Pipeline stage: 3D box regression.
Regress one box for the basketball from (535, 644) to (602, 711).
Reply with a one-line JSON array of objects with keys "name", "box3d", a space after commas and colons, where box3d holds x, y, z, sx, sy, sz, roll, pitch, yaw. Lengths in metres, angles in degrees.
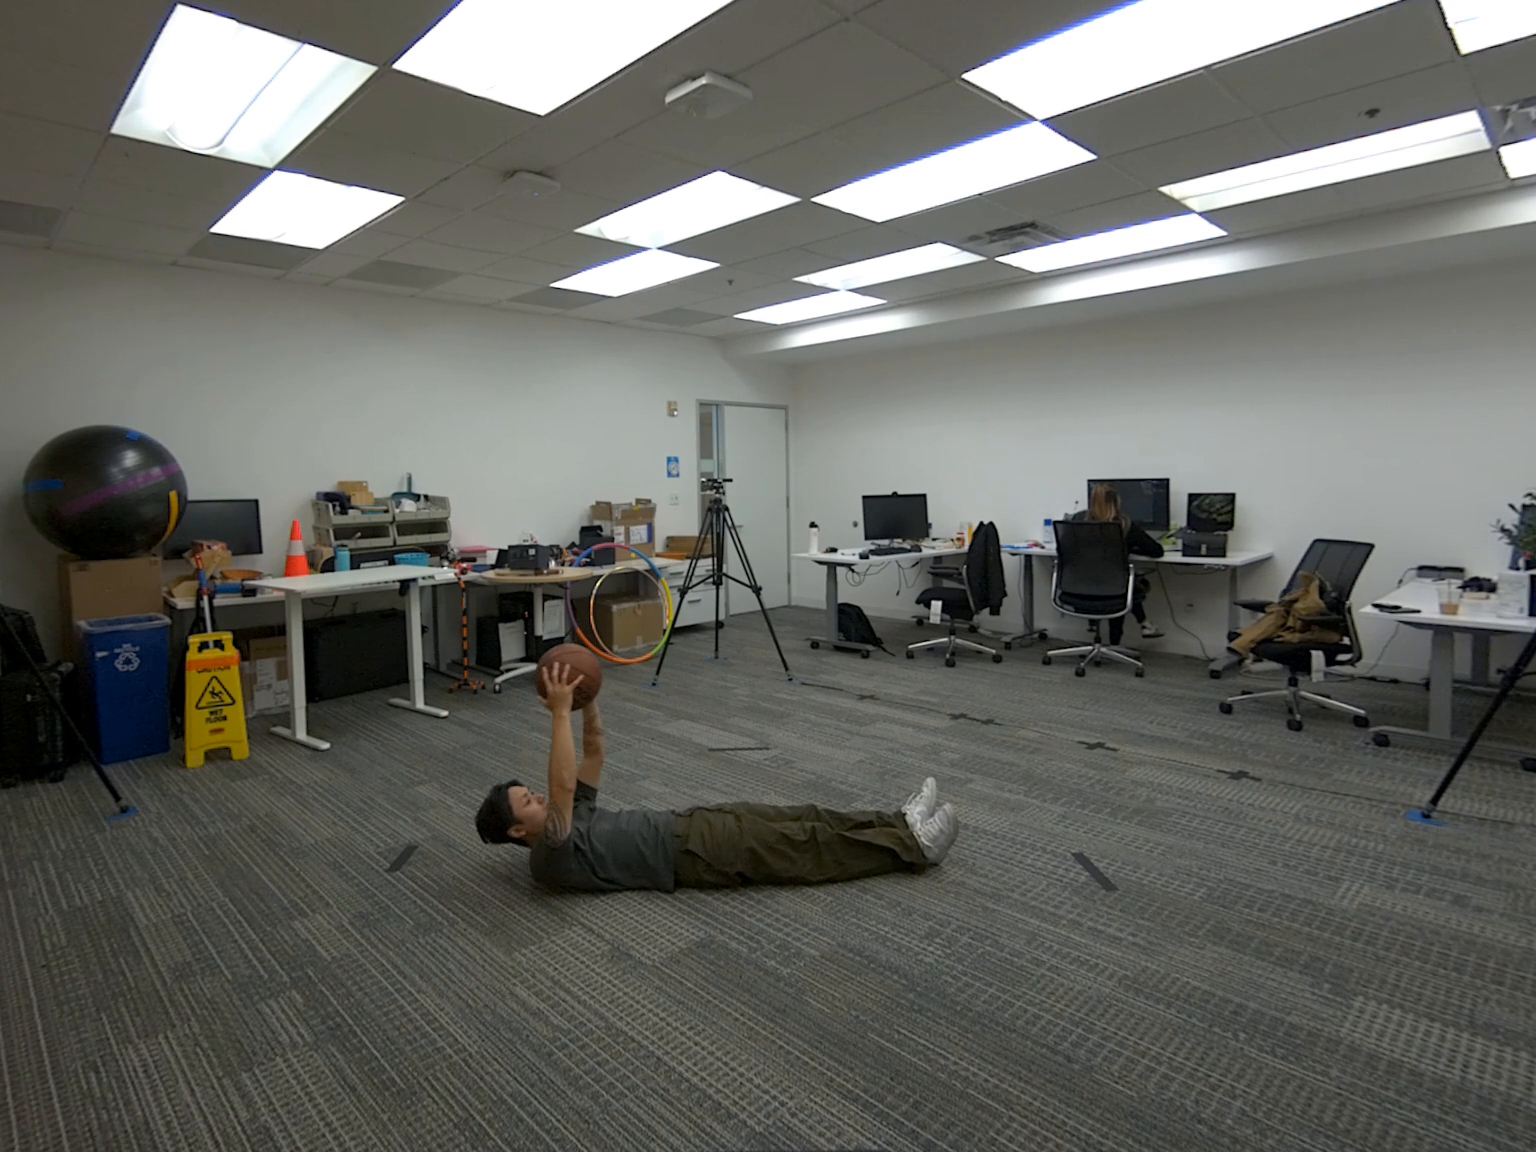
[{"name": "basketball", "box3d": [-0.716, 0.369, 3.047, 0.236, 0.235, 0.237, -1, 5, -2]}]
